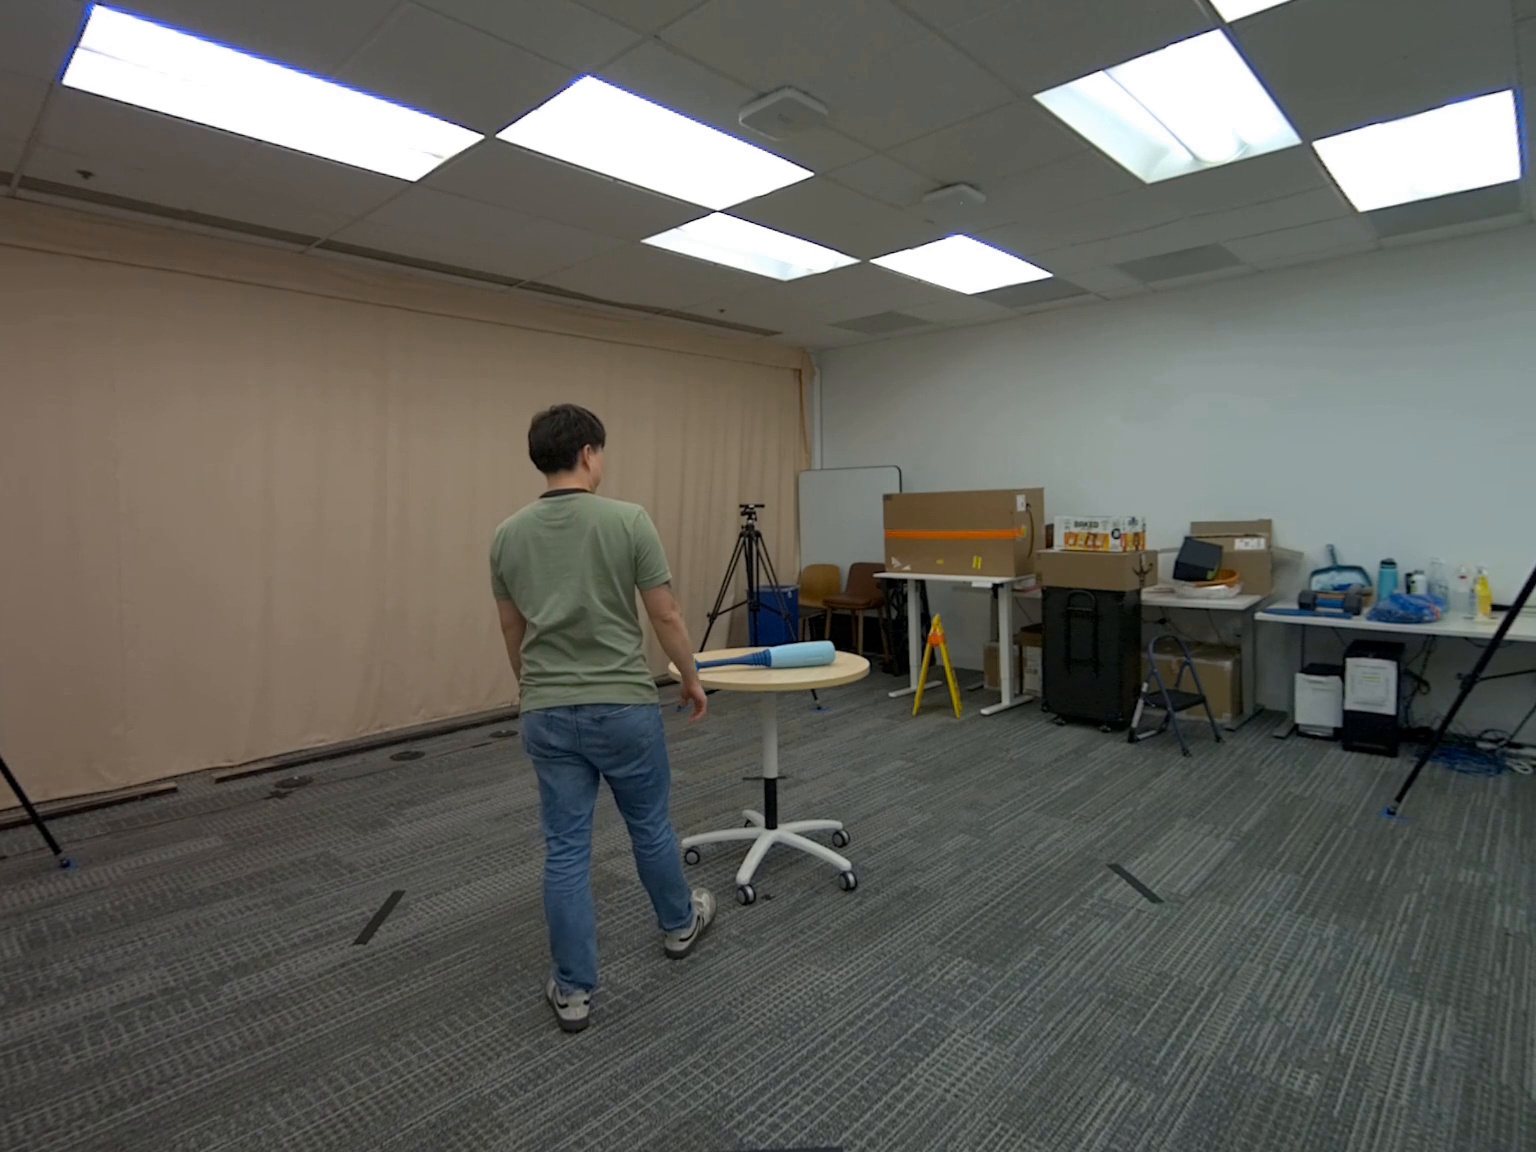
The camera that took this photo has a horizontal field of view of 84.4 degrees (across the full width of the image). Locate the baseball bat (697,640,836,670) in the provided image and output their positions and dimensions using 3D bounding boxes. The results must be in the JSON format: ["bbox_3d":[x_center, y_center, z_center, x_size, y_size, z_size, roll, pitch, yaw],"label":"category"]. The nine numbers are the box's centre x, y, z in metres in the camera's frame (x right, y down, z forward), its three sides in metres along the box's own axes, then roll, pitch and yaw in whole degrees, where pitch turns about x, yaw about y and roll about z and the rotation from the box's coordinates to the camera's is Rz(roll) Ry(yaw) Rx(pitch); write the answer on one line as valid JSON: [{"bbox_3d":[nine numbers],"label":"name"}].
[{"bbox_3d":[-0.013,0.307,3.109,0.537,0.089,0.090,-4,4,-10],"label":"baseball bat"}]
